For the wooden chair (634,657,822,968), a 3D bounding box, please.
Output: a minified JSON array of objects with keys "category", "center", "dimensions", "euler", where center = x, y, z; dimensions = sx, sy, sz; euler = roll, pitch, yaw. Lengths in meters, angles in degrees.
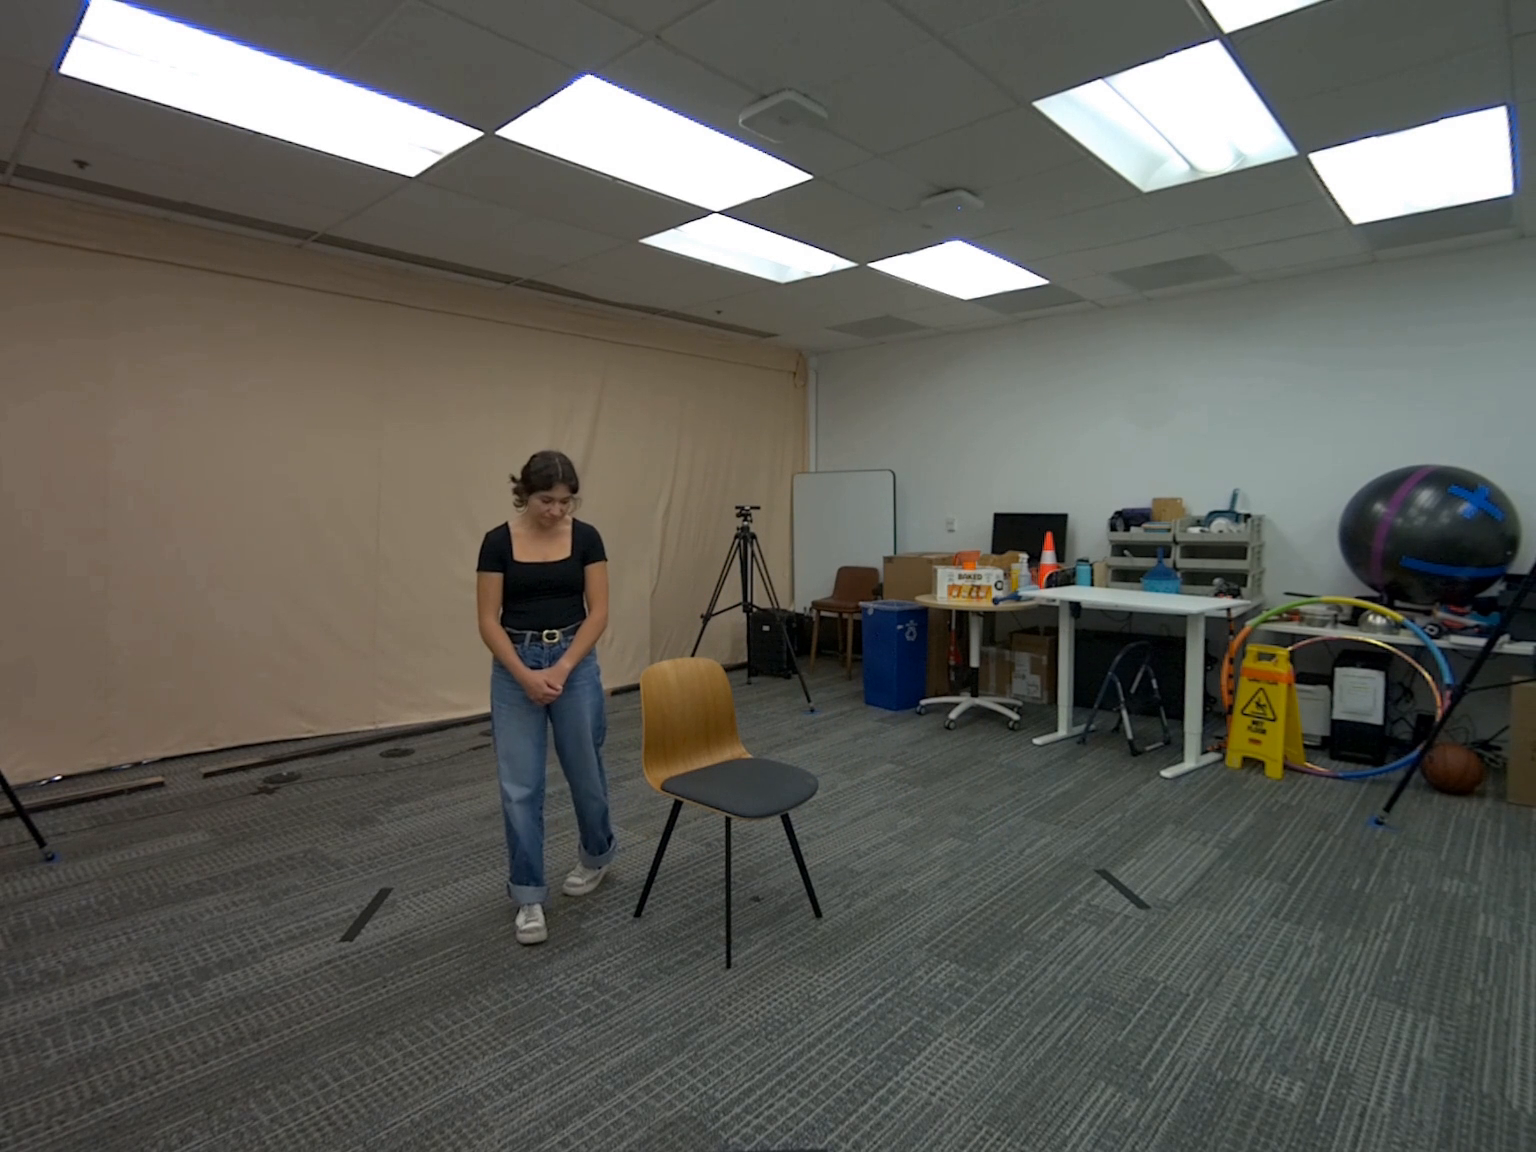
[{"category":"wooden chair","center":[-0.126,0.735,2.813],"dimensions":[0.539,0.877,0.463],"euler":[-3,0,44]}]
